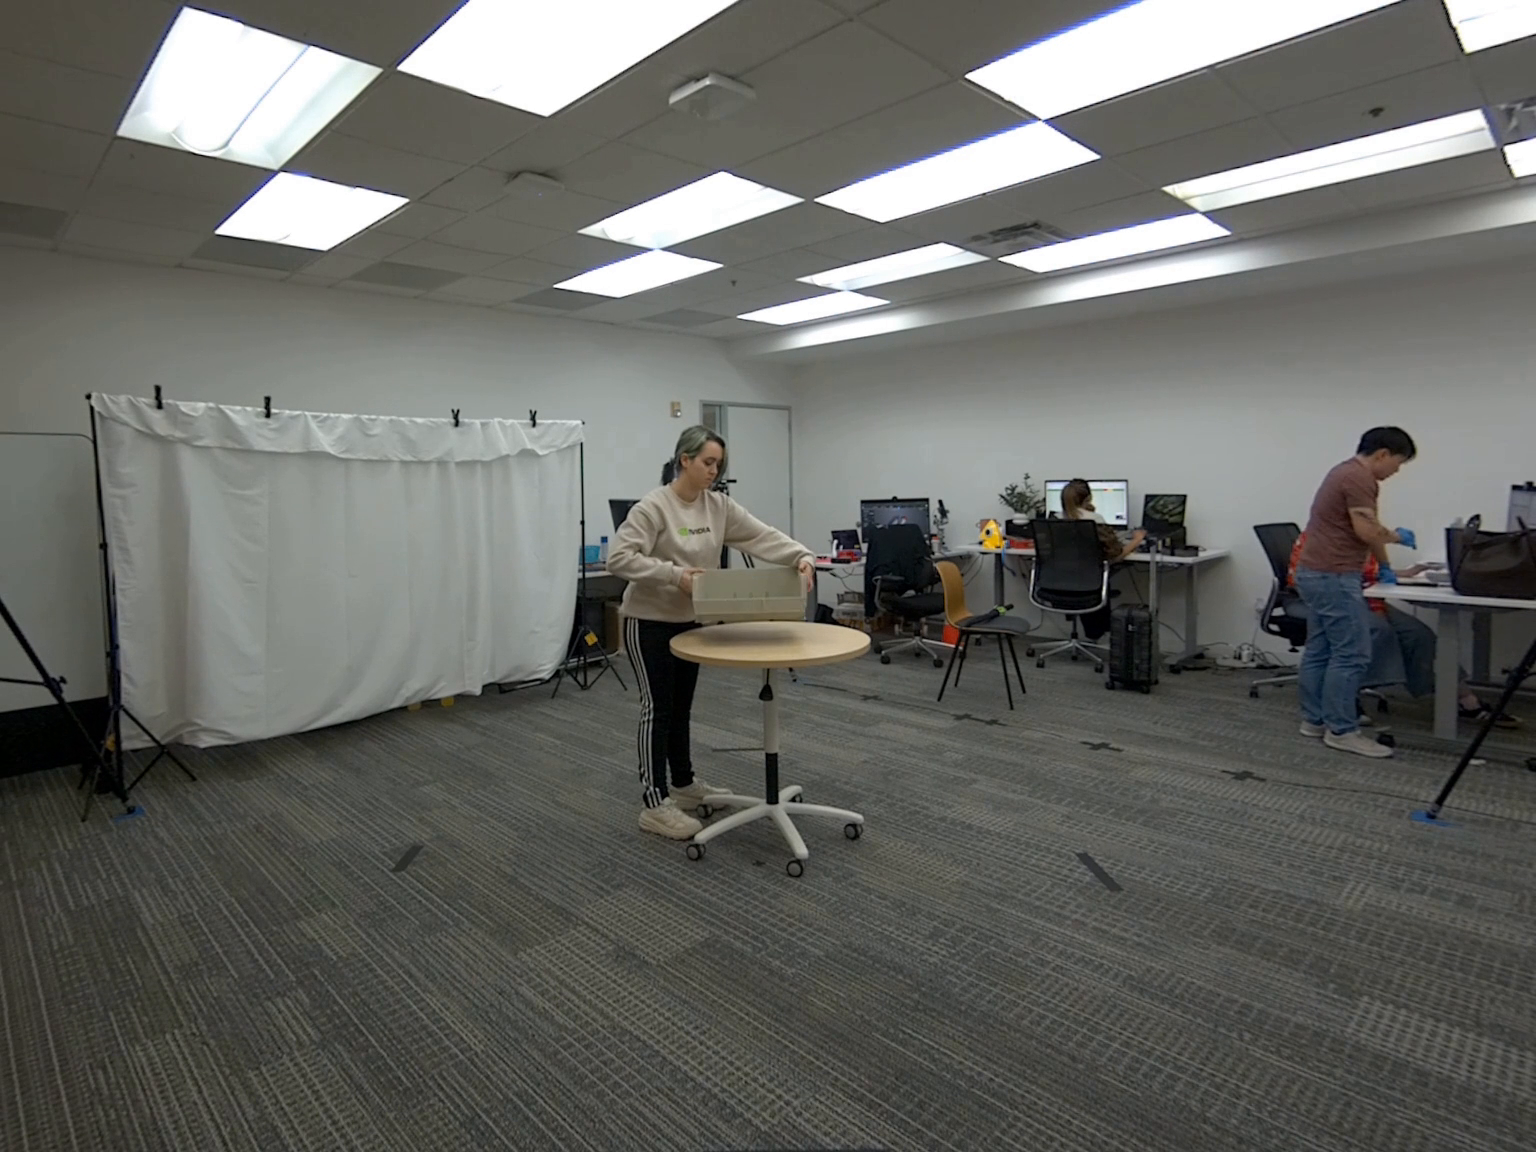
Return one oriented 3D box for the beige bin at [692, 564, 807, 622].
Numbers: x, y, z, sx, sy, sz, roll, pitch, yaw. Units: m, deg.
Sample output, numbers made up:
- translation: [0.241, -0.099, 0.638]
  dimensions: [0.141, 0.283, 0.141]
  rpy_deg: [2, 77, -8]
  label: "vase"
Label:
- translation: [-0.074, 0.081, 3.302]
  dimensions: [0.422, 0.188, 0.378]
  rpy_deg: [-3, 4, 0]
  label: "beige bin"
